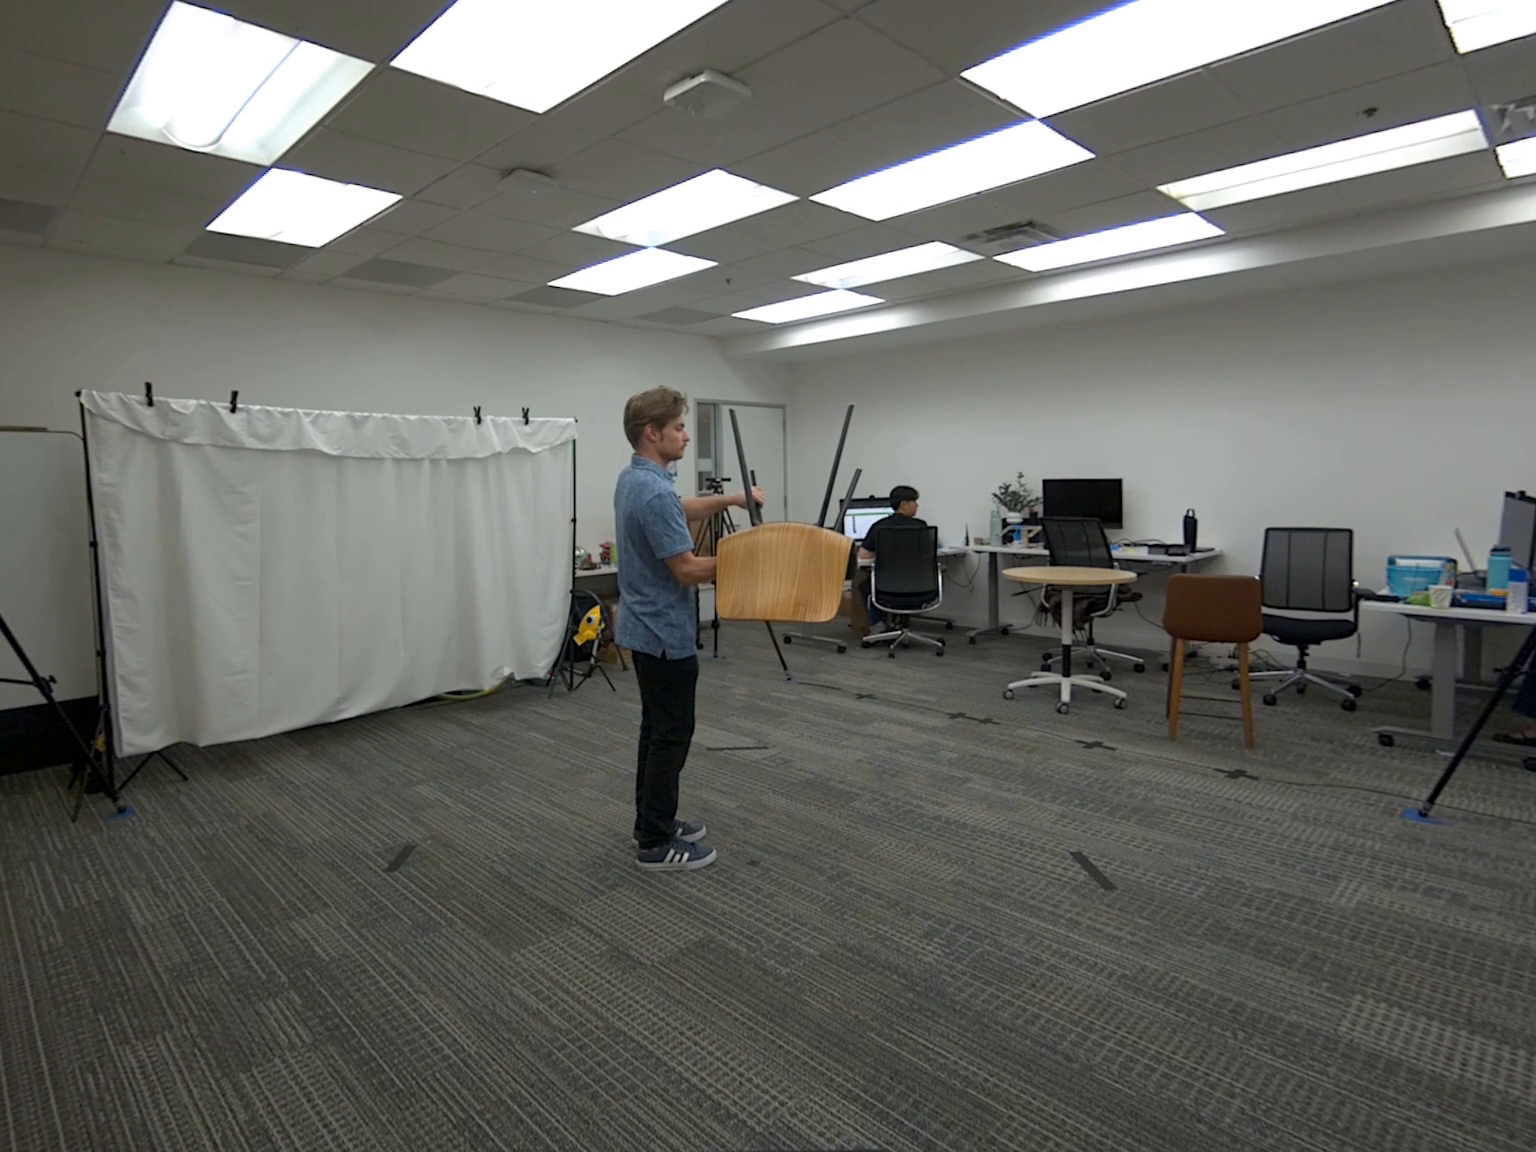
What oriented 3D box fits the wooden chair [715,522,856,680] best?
[{"bbox_3d":[0.083,-0.117,3.082,0.484,0.895,0.506,0,-30,11],"label":"wooden chair"}]
